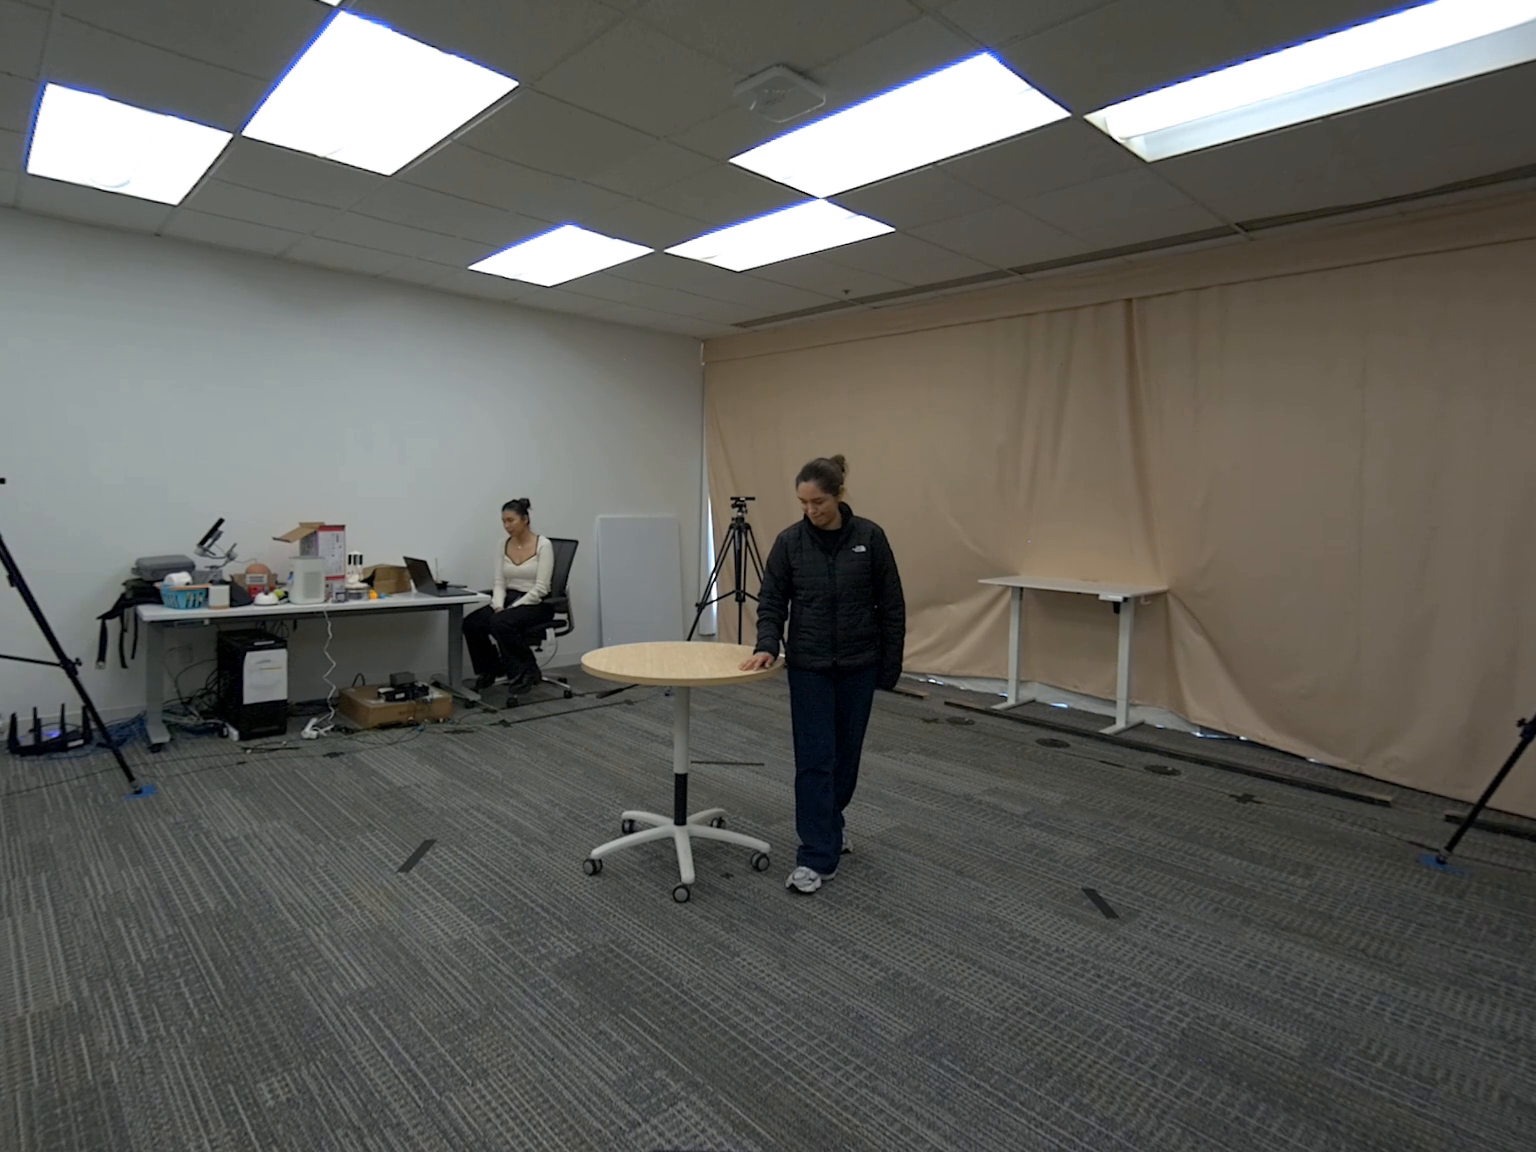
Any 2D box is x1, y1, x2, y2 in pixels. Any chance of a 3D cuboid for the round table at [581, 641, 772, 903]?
[{"bbox_3d":[-0.326,0.698,3.215,0.784,0.785,0.787,1,4,-1],"label":"round table"}]
